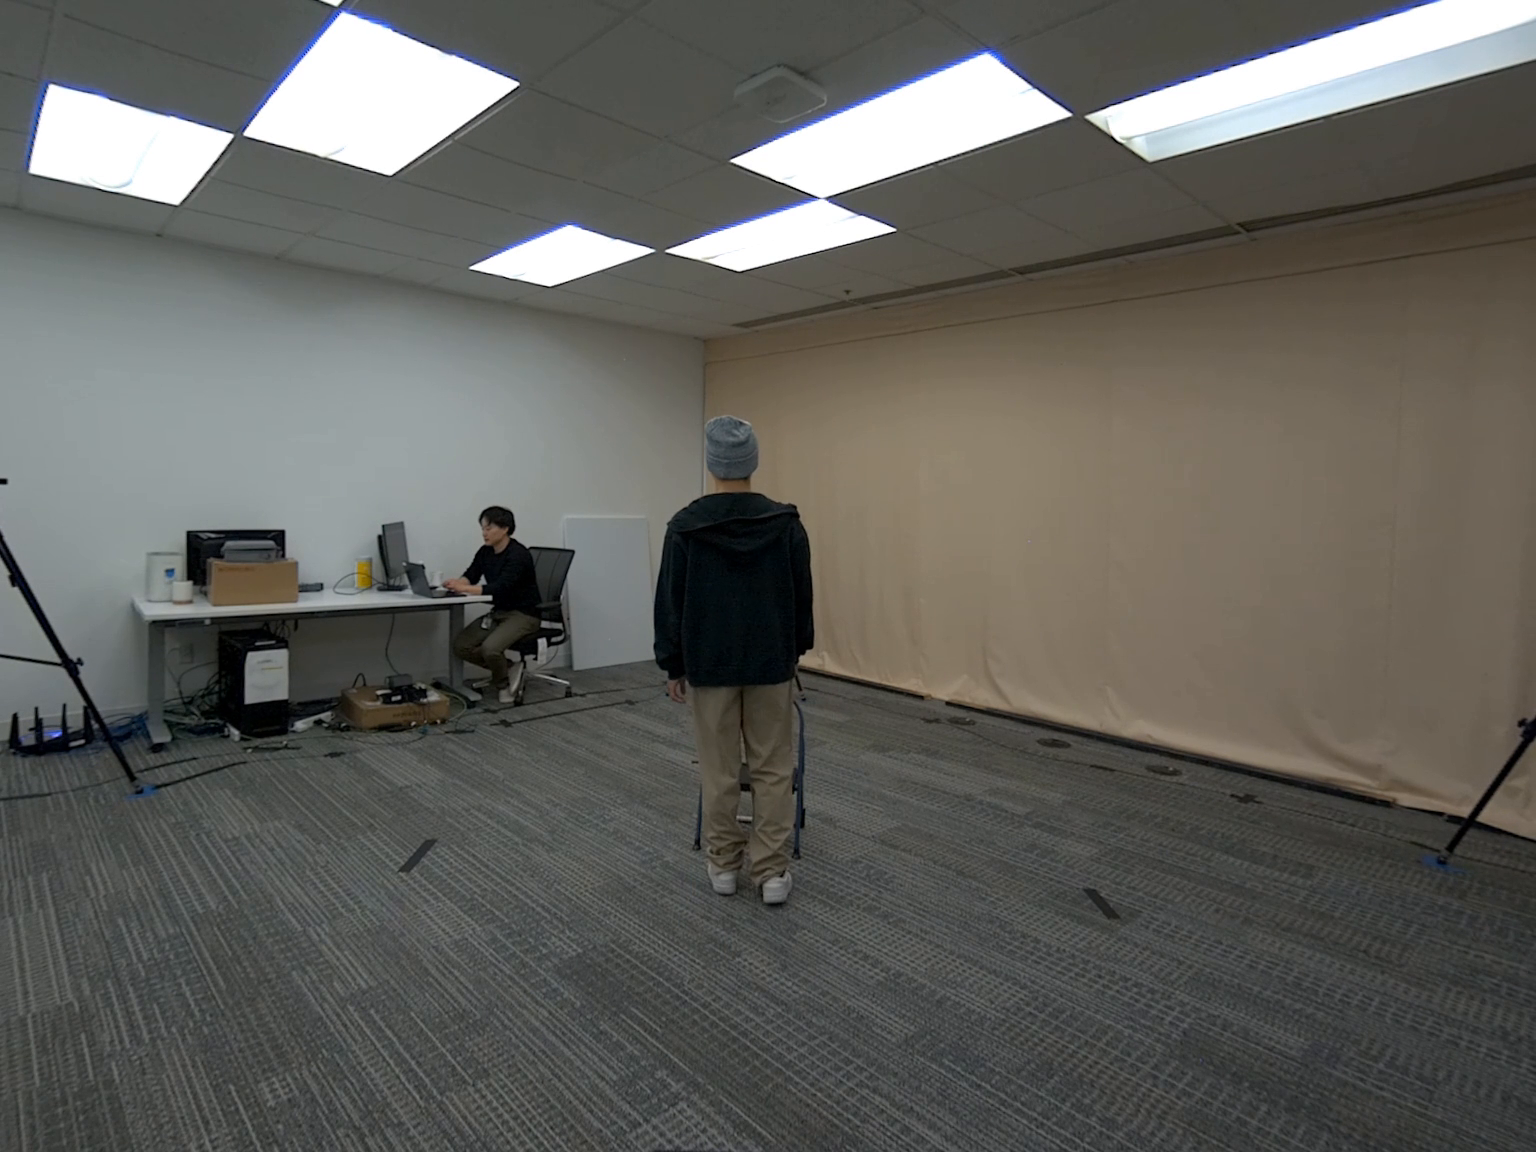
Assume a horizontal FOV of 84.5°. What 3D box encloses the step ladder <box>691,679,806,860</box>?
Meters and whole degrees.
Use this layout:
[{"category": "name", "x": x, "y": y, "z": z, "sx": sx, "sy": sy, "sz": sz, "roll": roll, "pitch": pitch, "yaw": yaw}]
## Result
[{"category": "step ladder", "x": -0.062, "y": 0.781, "z": 3.455, "sx": 0.433, "sy": 0.605, "sz": 0.348, "roll": 2, "pitch": 3, "yaw": 7}]
